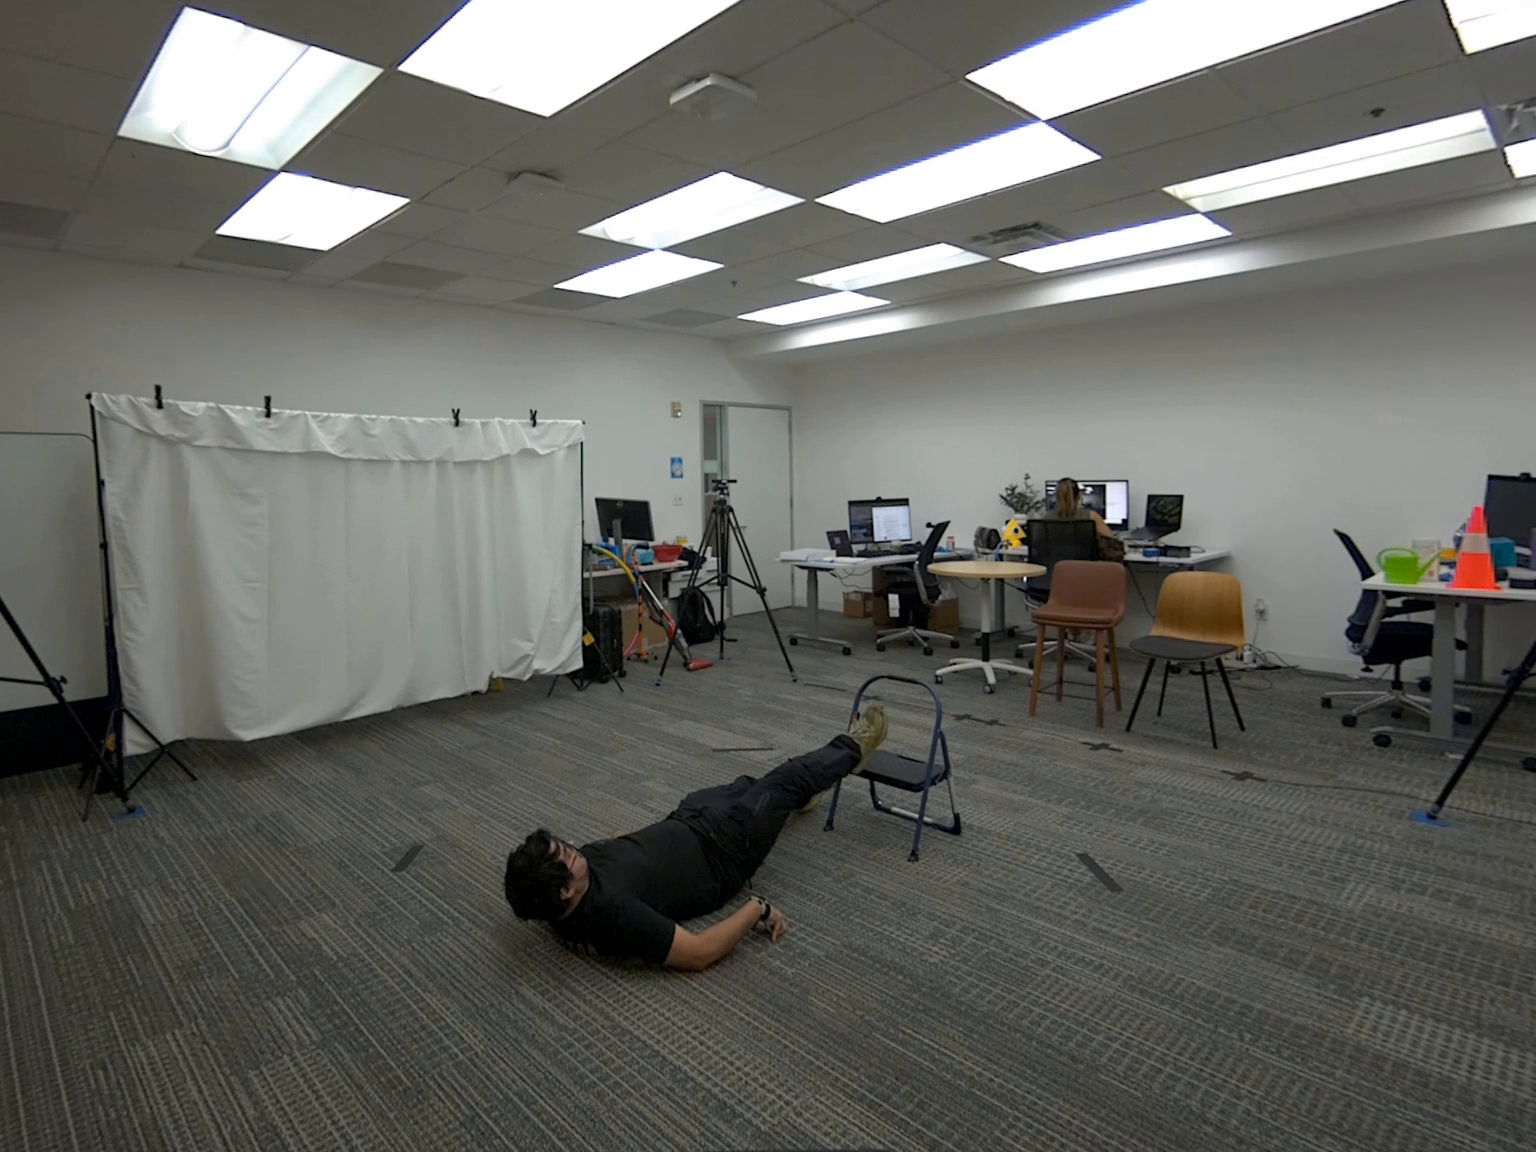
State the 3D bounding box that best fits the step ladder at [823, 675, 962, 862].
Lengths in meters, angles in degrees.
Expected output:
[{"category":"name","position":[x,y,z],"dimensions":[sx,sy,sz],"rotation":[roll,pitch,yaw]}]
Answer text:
[{"category":"step ladder","position":[0.492,0.708,3.351],"dimensions":[0.444,0.604,0.340],"rotation":[4,6,44]}]
